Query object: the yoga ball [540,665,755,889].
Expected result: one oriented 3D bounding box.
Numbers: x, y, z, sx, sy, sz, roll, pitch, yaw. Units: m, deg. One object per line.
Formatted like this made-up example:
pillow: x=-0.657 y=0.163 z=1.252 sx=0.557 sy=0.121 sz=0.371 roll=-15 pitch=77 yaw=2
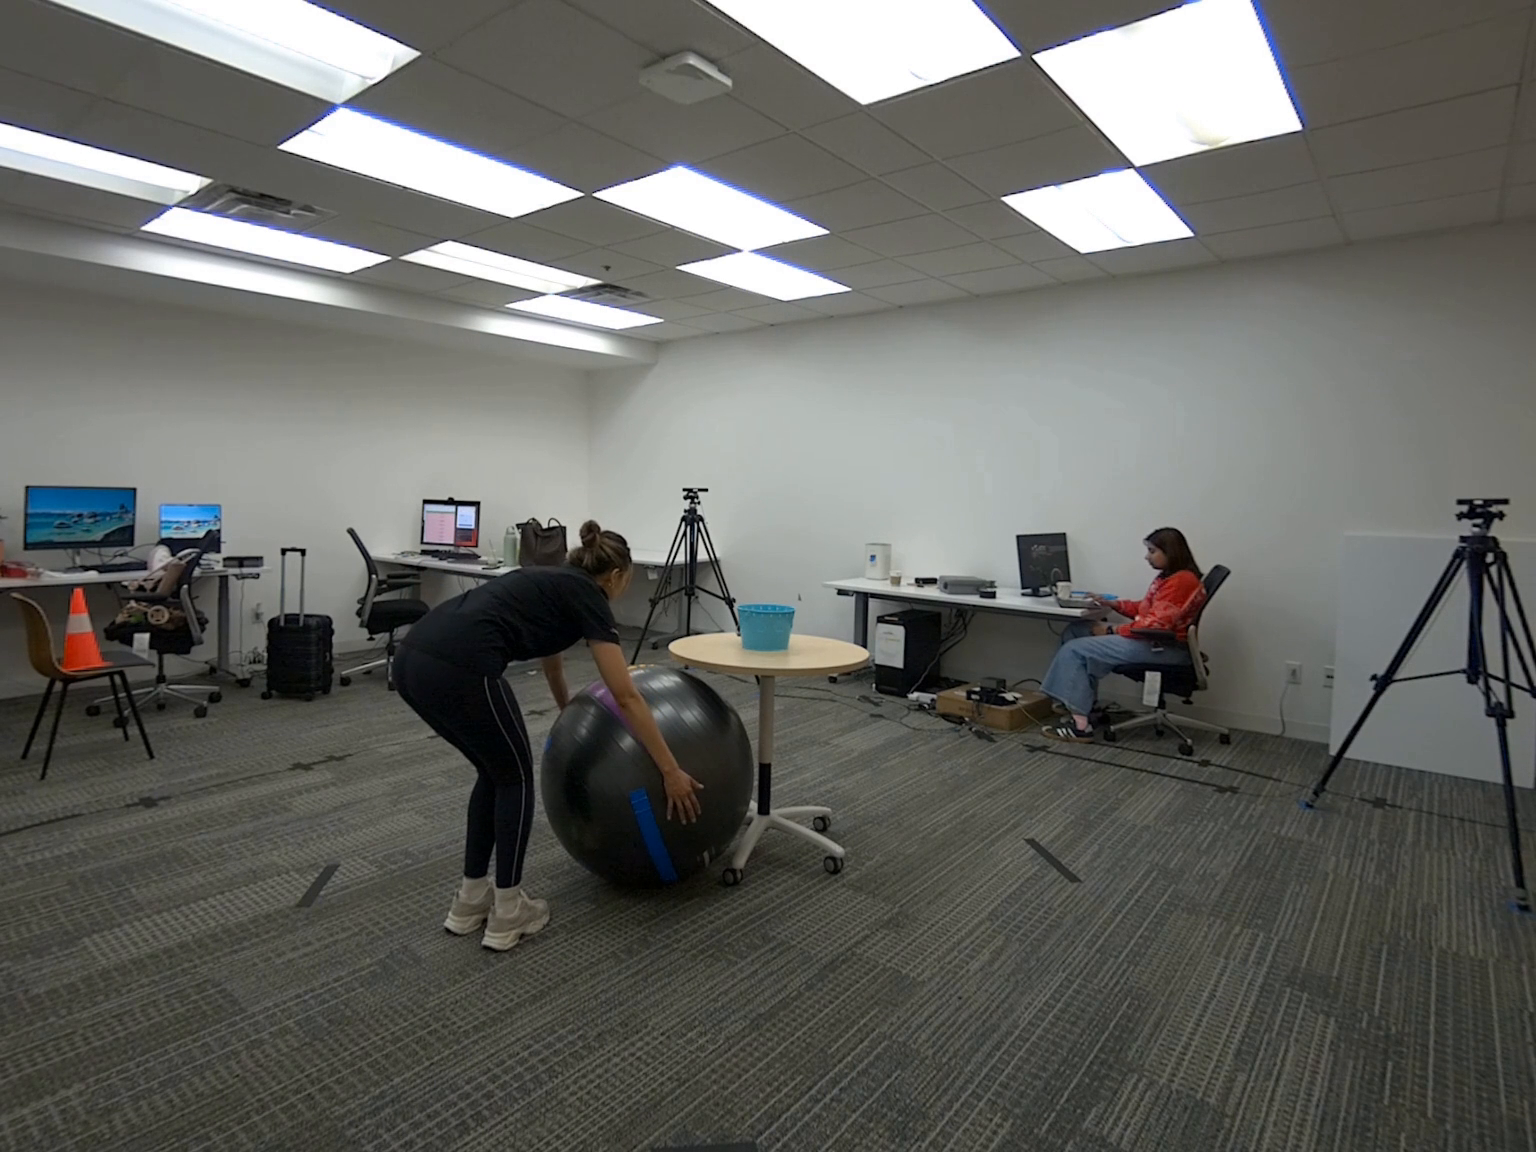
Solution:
yoga ball: x=-0.443 y=0.701 z=3.035 sx=0.757 sy=0.756 sz=0.762 roll=1 pitch=4 yaw=-2
